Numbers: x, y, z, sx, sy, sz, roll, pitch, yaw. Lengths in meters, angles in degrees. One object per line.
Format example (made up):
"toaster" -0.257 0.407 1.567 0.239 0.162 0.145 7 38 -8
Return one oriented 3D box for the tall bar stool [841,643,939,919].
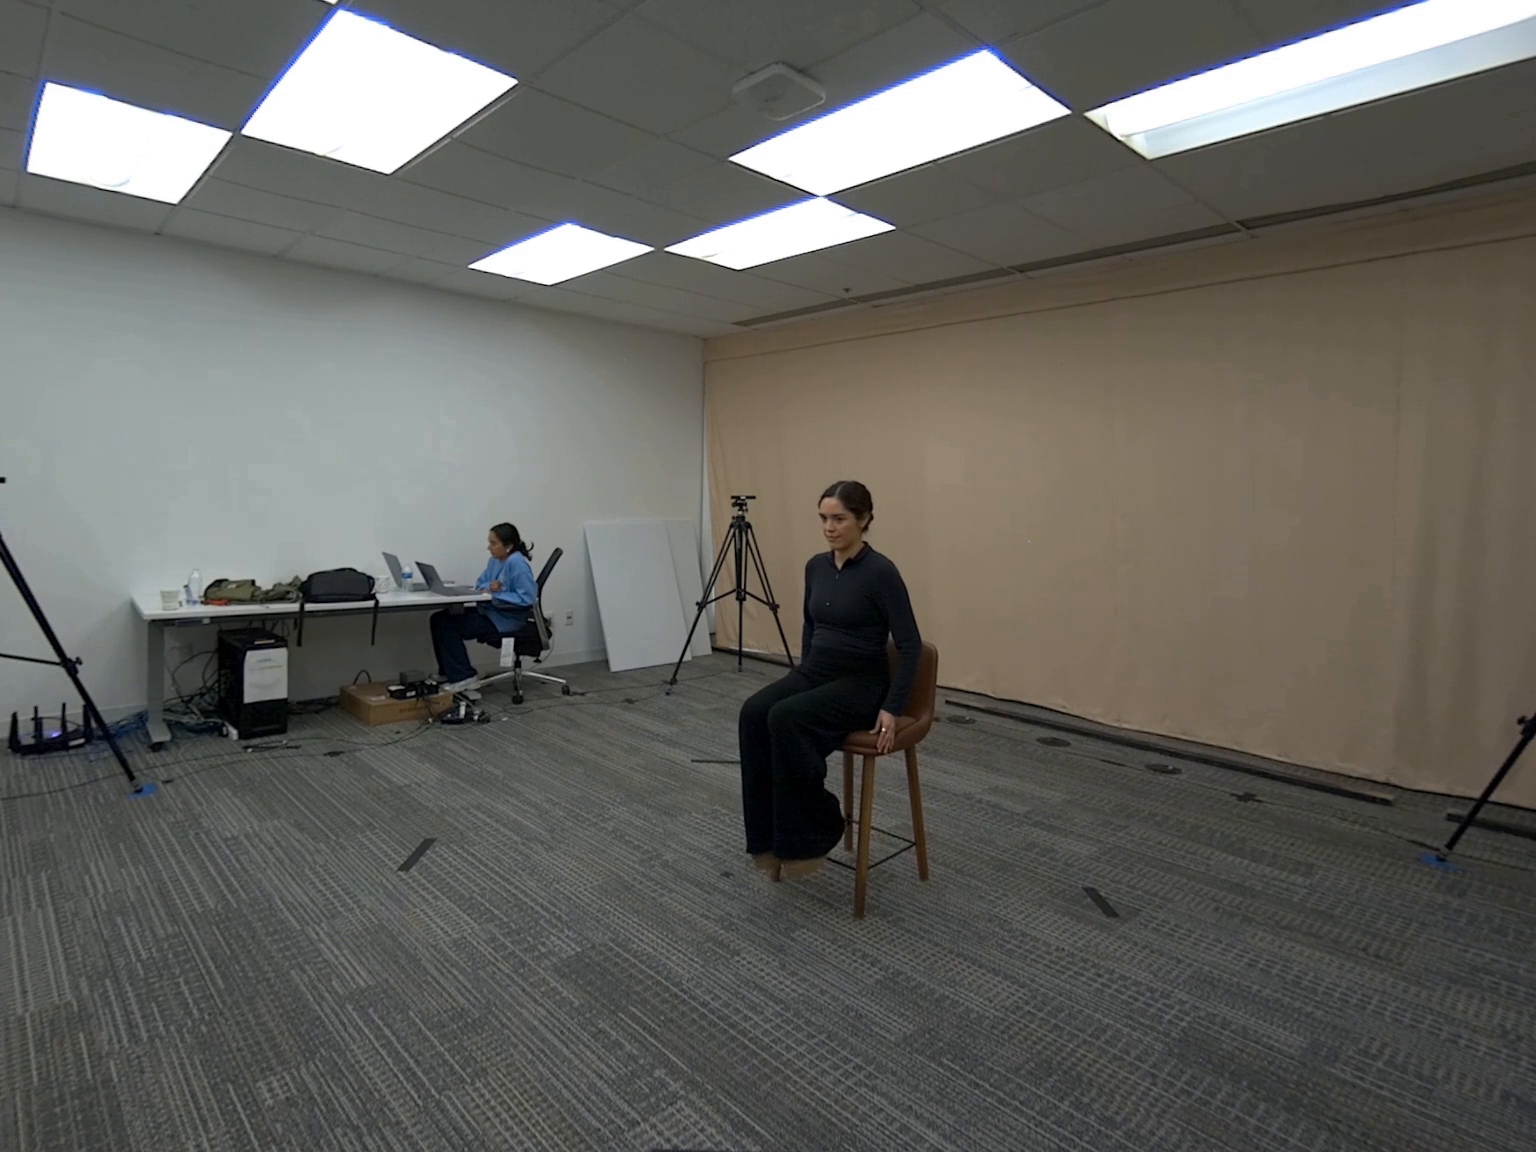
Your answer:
"tall bar stool" 0.327 0.683 3.064 0.468 0.888 0.456 6 3 44
